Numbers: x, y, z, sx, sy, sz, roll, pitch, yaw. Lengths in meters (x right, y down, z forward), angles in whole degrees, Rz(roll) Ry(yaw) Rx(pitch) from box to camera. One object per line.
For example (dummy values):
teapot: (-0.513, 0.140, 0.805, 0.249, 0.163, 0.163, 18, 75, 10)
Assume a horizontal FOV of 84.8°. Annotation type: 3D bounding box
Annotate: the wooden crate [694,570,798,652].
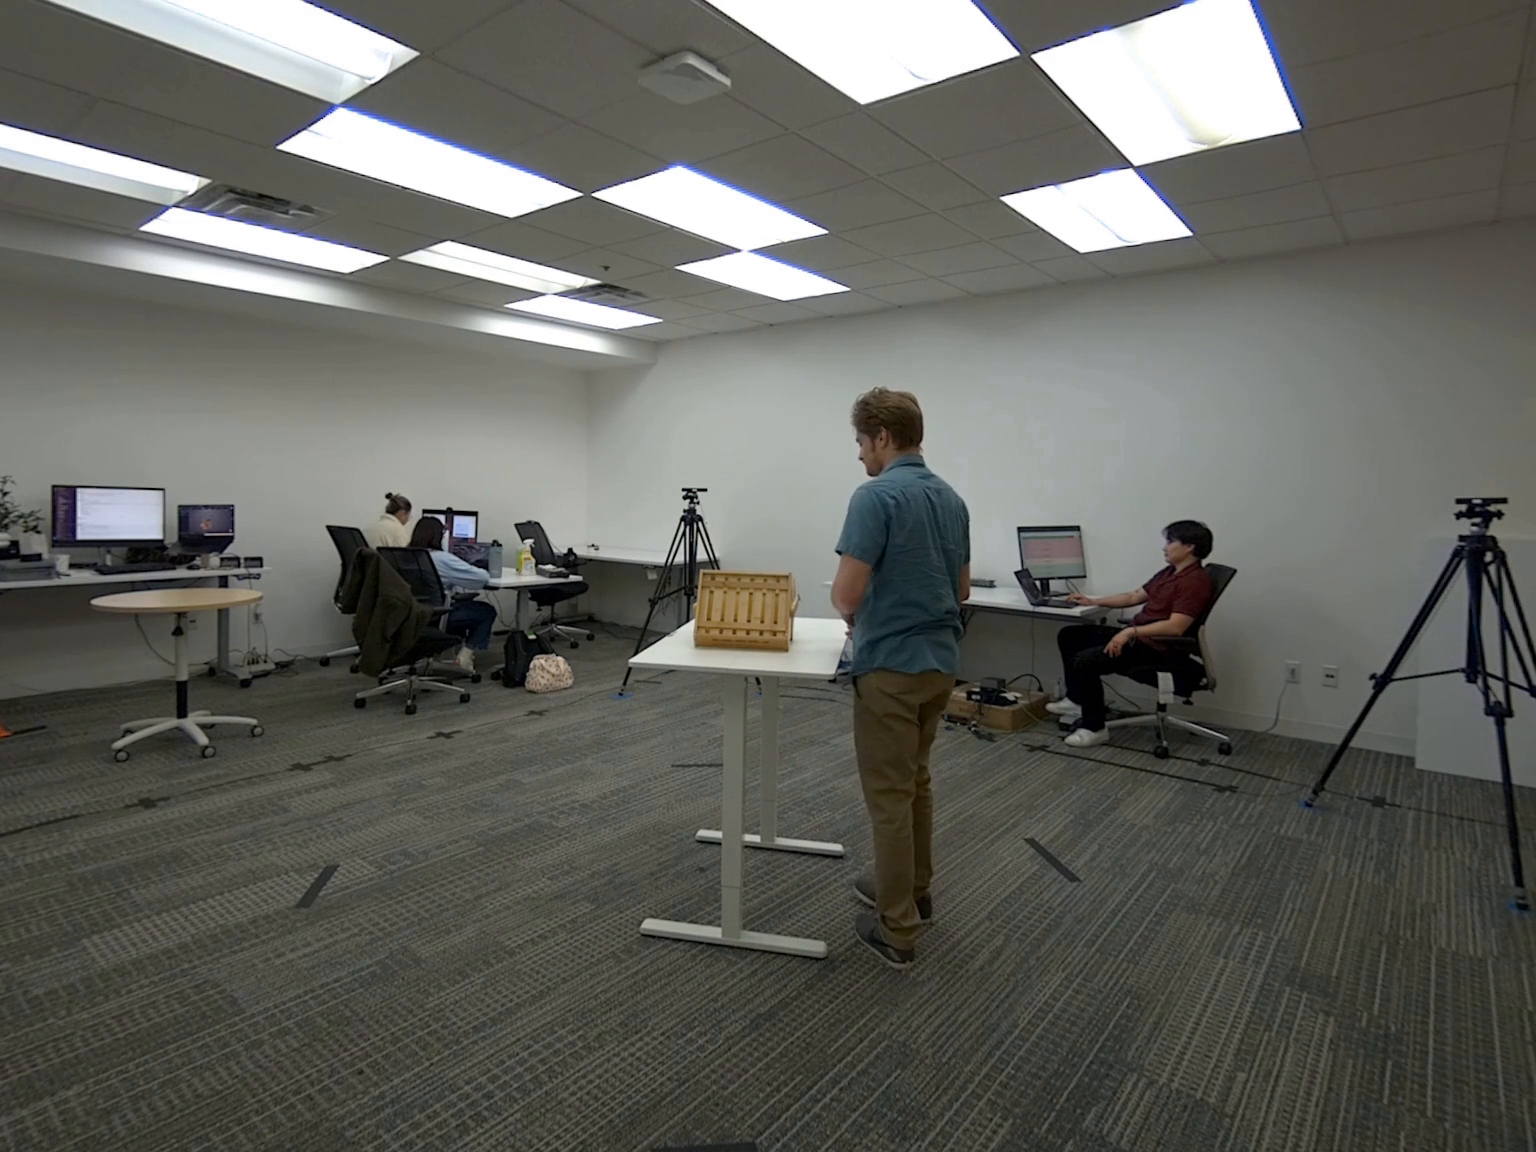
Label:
wooden crate: (-0.074, 0.125, 2.849, 0.327, 0.307, 0.266, 2, -22, 8)
